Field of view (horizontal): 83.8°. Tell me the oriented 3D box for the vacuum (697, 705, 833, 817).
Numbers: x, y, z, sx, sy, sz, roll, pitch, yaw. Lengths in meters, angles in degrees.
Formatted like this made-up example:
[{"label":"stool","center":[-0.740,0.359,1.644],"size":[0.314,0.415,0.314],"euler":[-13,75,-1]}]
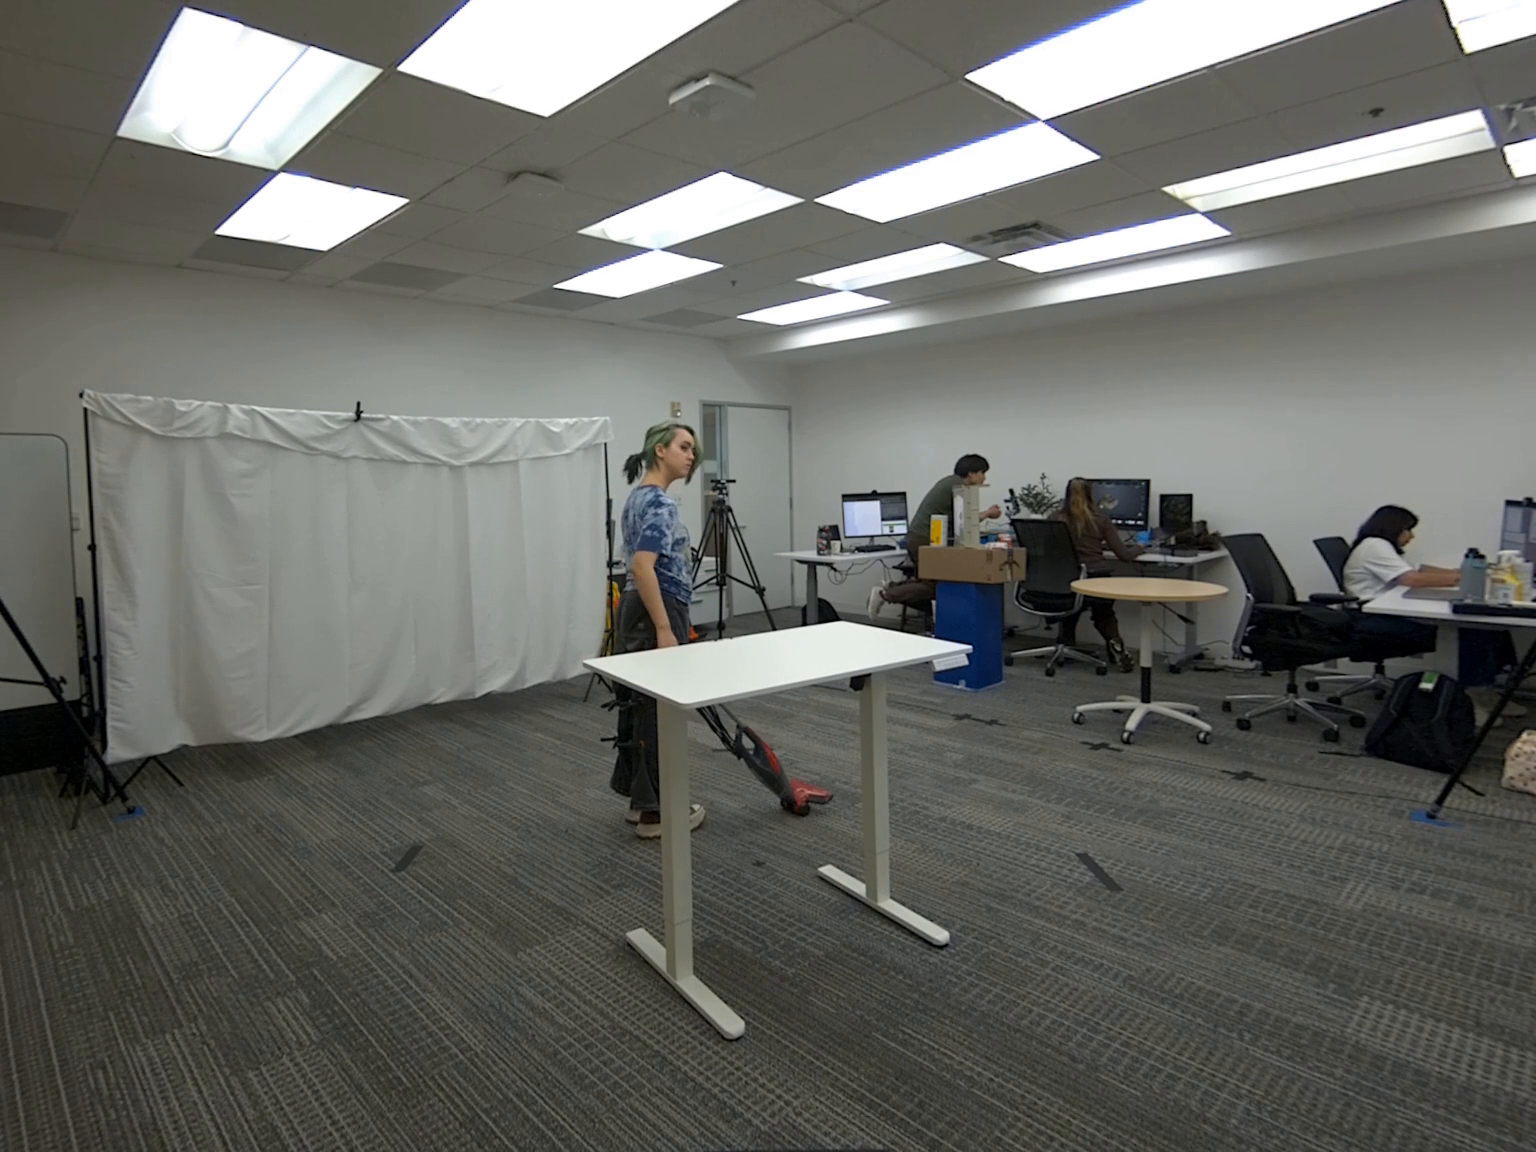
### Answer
[{"label":"vacuum","center":[-0.125,0.625,3.372],"size":[0.260,0.145,1.014],"euler":[-1,-41,48]}]
